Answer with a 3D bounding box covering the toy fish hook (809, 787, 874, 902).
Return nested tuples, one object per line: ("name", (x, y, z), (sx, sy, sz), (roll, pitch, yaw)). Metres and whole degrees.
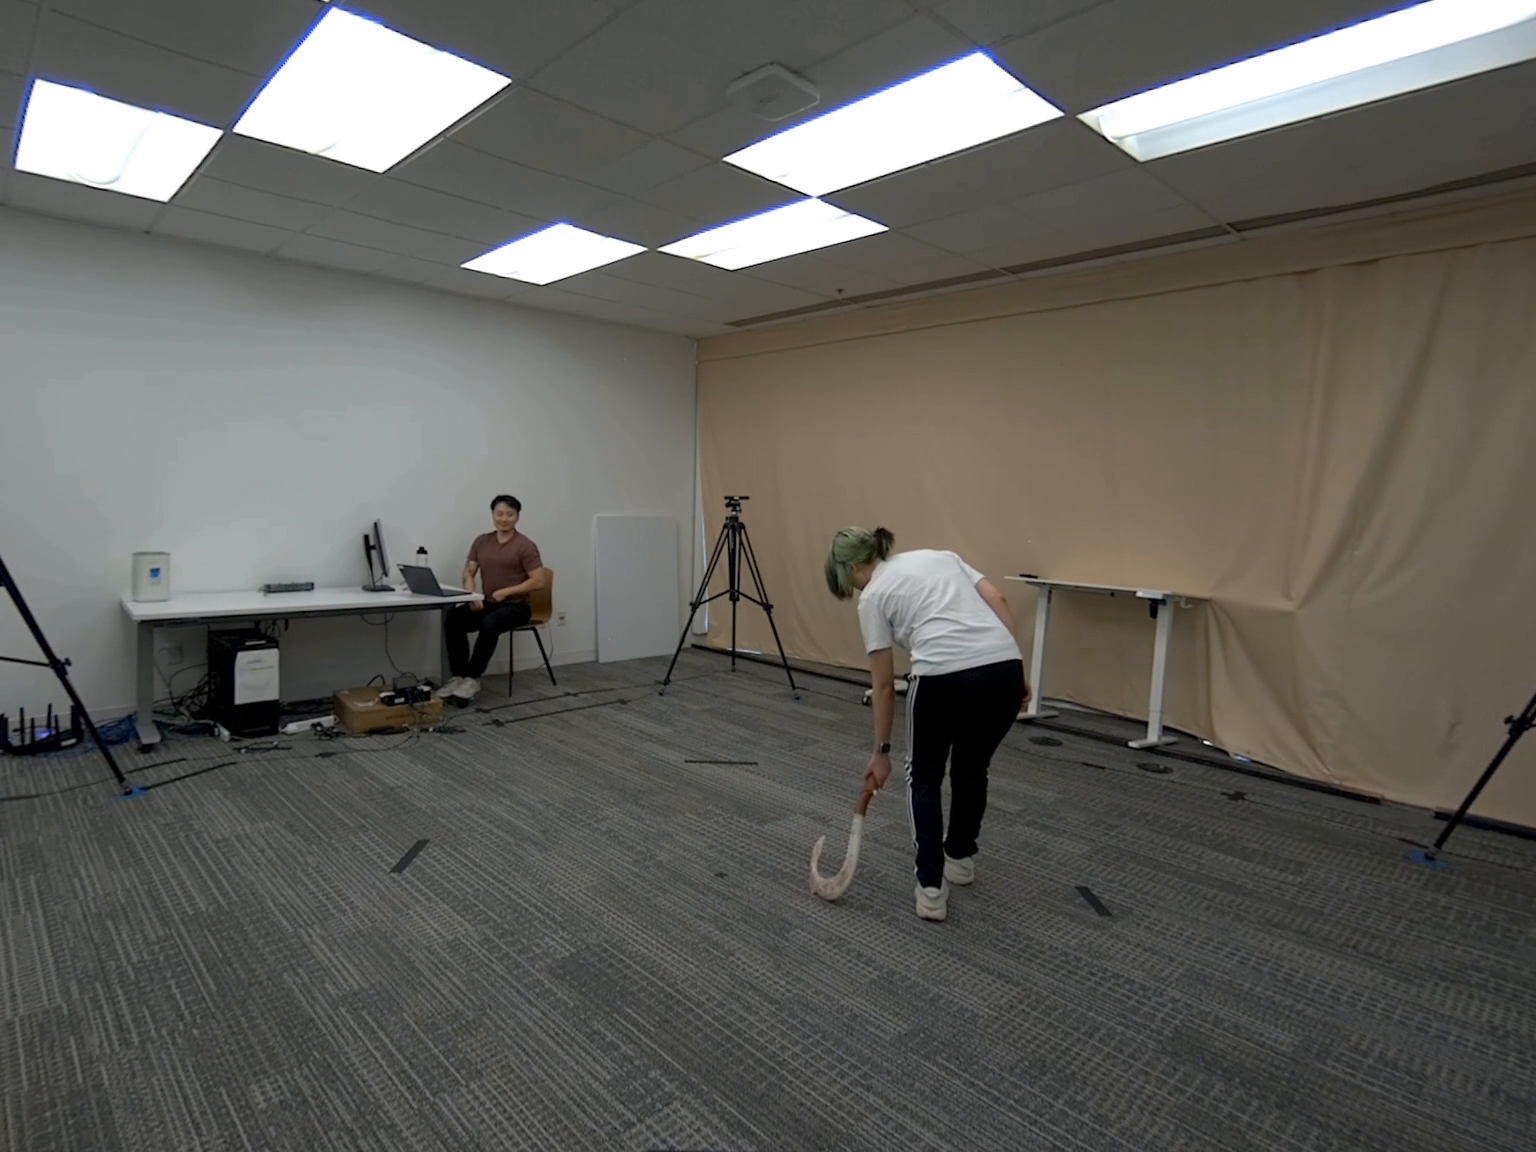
("toy fish hook", (0.272, 0.892, 3.016), (0.047, 0.509, 0.230), (36, -21, -33))
